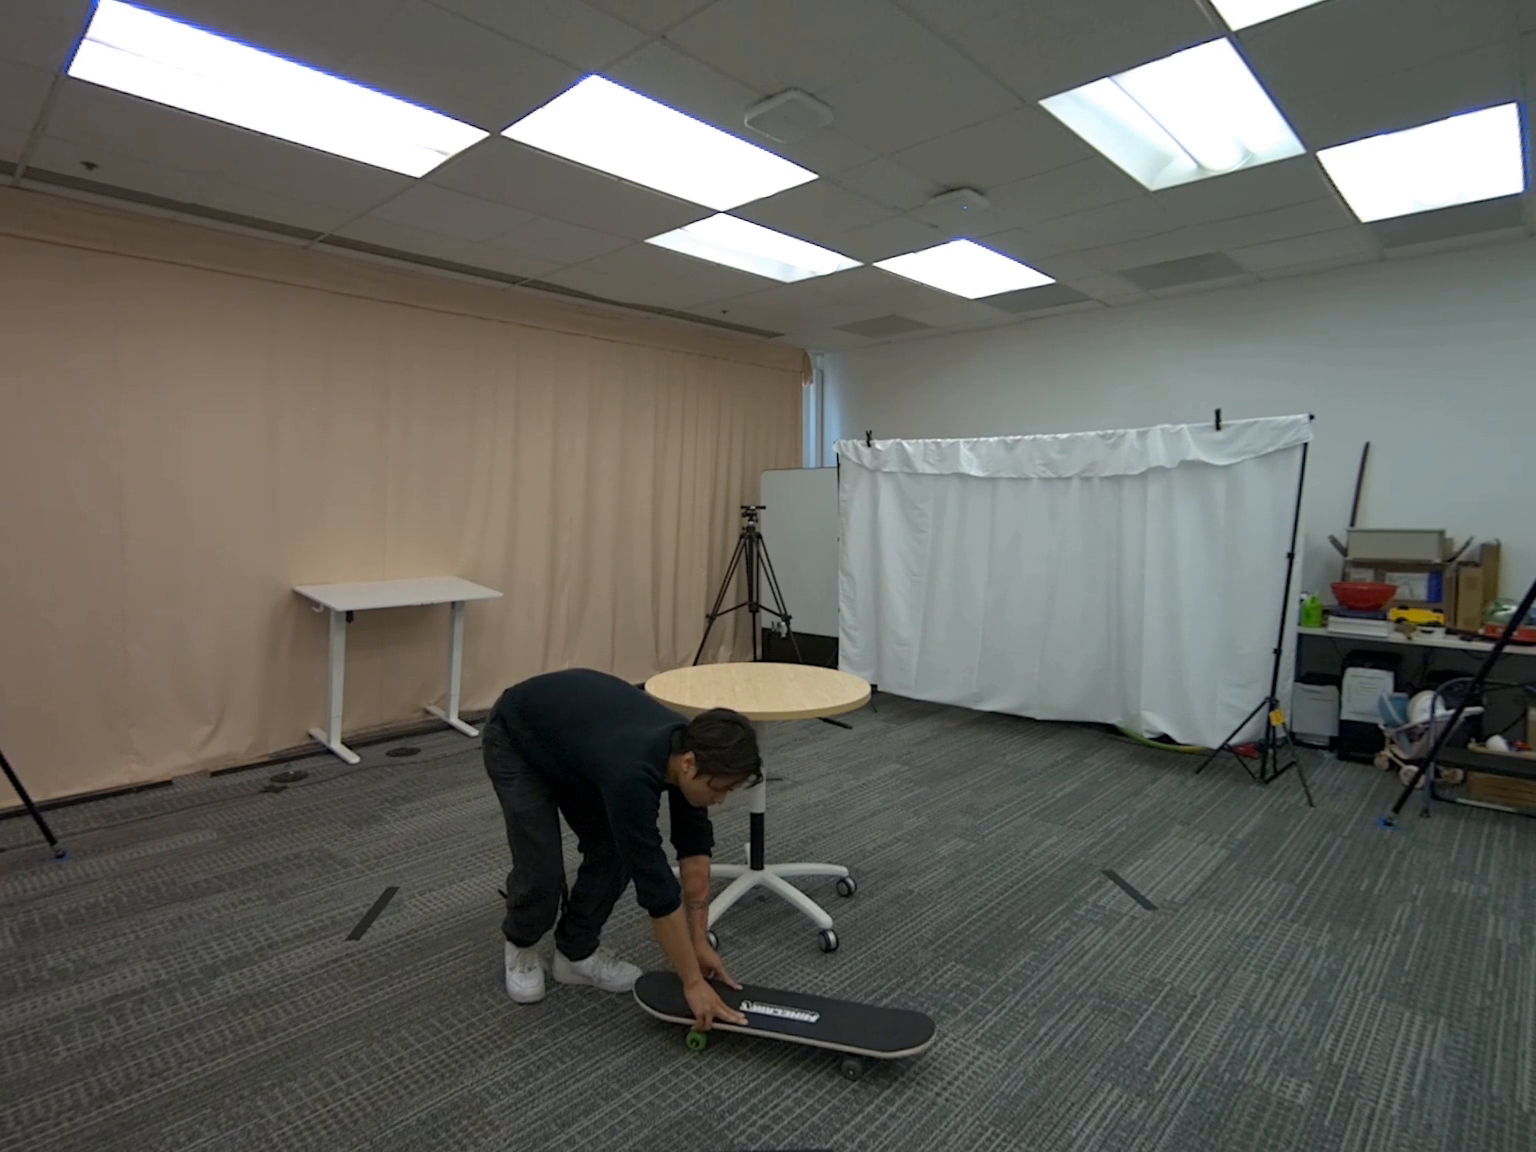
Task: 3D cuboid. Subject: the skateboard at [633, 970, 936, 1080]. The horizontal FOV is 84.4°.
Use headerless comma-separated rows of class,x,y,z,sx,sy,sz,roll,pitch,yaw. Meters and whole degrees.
skateboard,0.034,1.157,2.164,0.797,0.110,0.191,1,5,14
